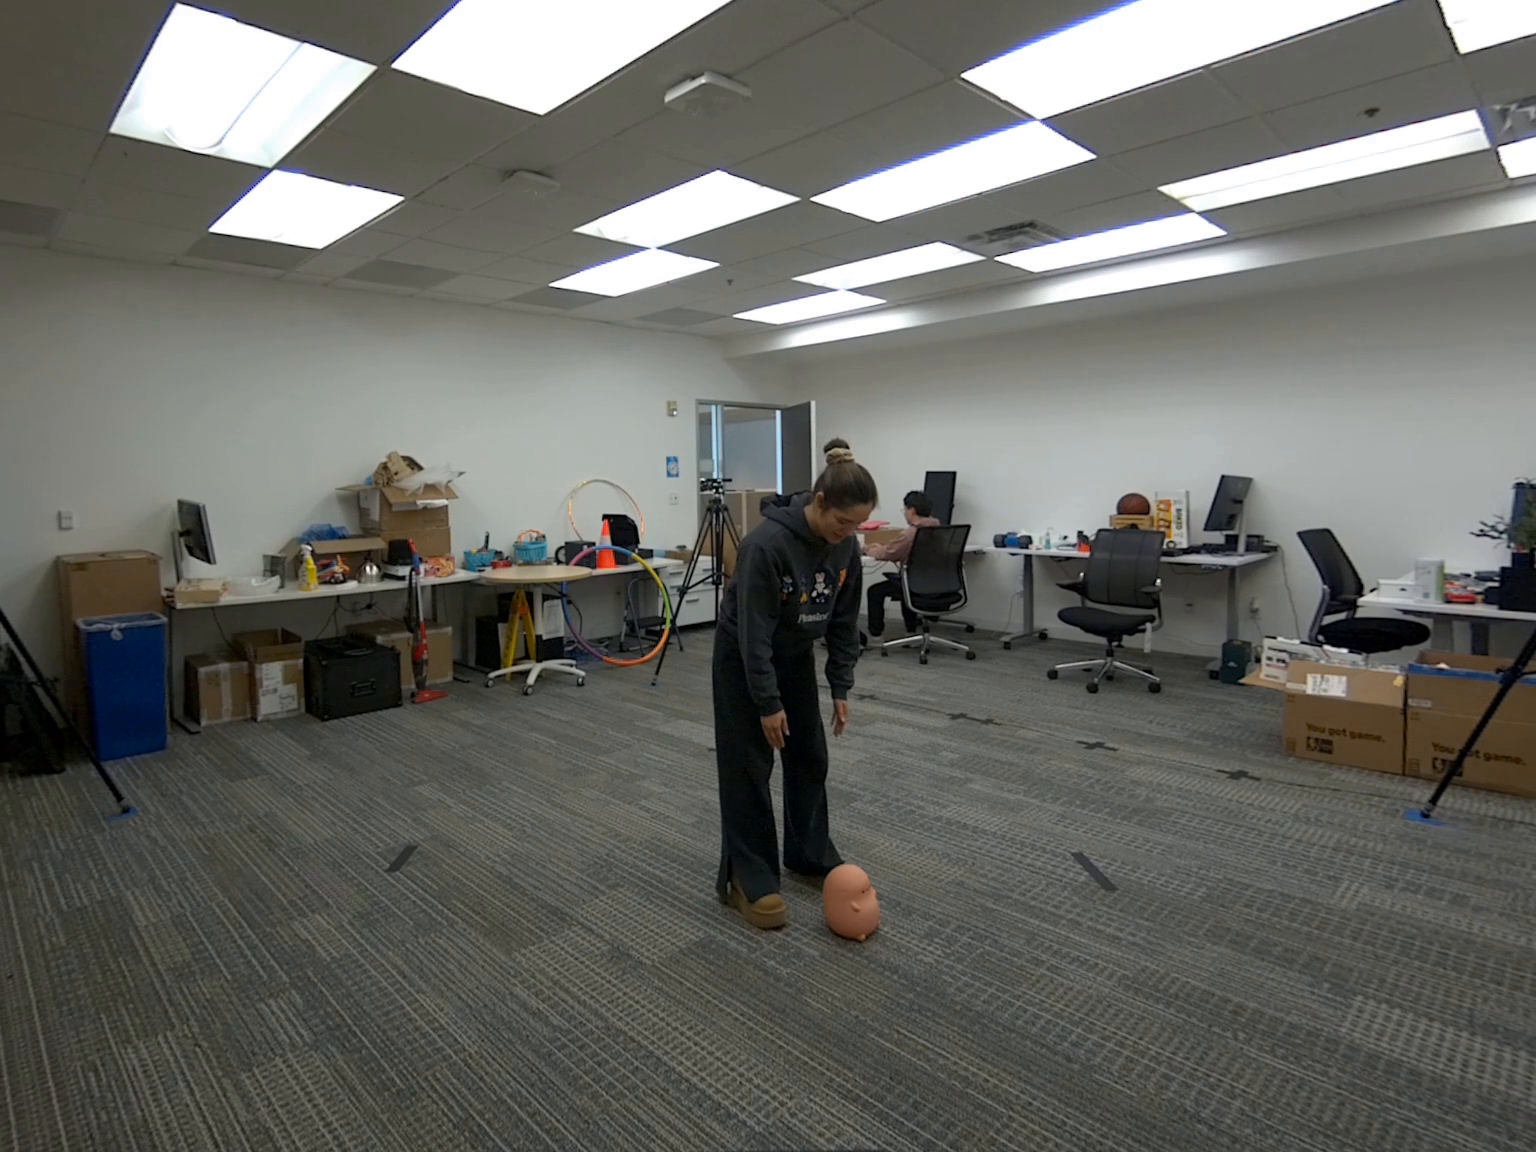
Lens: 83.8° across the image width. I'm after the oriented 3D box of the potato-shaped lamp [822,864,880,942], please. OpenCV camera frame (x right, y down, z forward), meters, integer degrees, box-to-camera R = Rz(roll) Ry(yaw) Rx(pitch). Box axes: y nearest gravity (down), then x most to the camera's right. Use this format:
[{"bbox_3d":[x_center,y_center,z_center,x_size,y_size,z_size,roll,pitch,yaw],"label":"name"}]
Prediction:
[{"bbox_3d":[0.264,0.990,2.621,0.175,0.198,0.161,-5,0,33],"label":"potato-shaped lamp"}]
